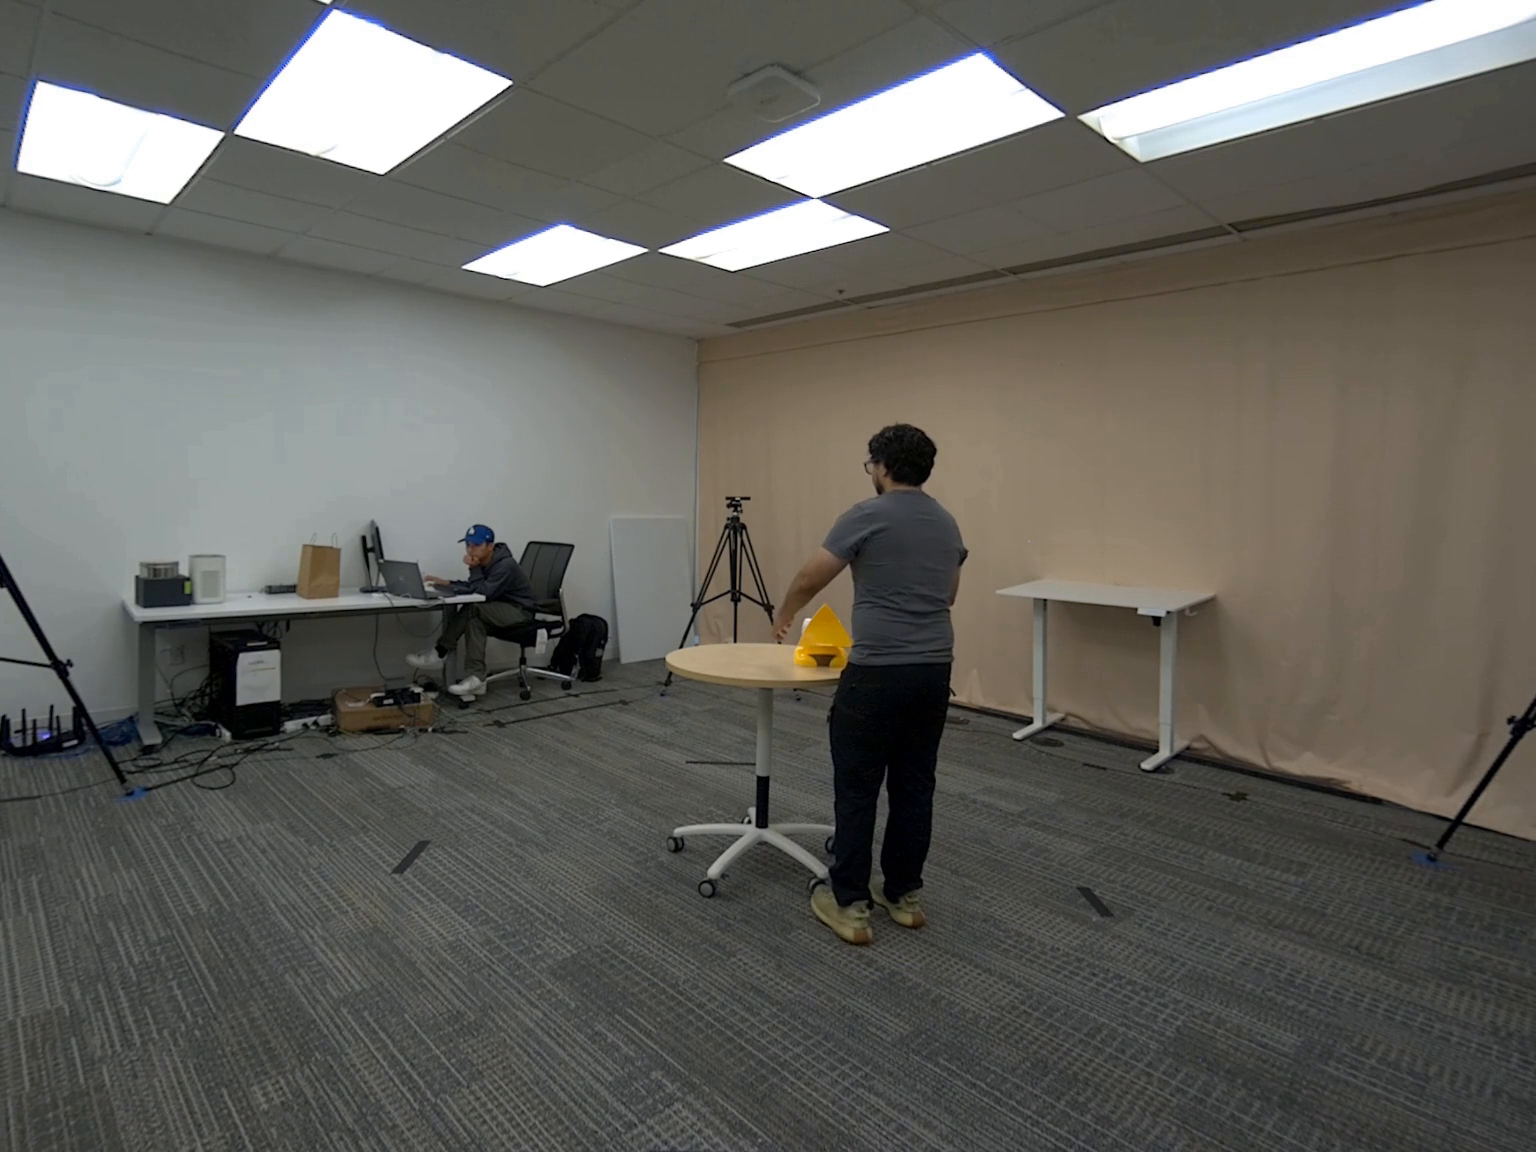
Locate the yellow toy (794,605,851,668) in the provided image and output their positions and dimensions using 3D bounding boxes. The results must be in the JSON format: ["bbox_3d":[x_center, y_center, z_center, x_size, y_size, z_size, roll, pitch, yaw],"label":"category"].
[{"bbox_3d":[0.187,0.215,3.159,0.204,0.230,0.194,2,2,-5],"label":"yellow toy"}]
